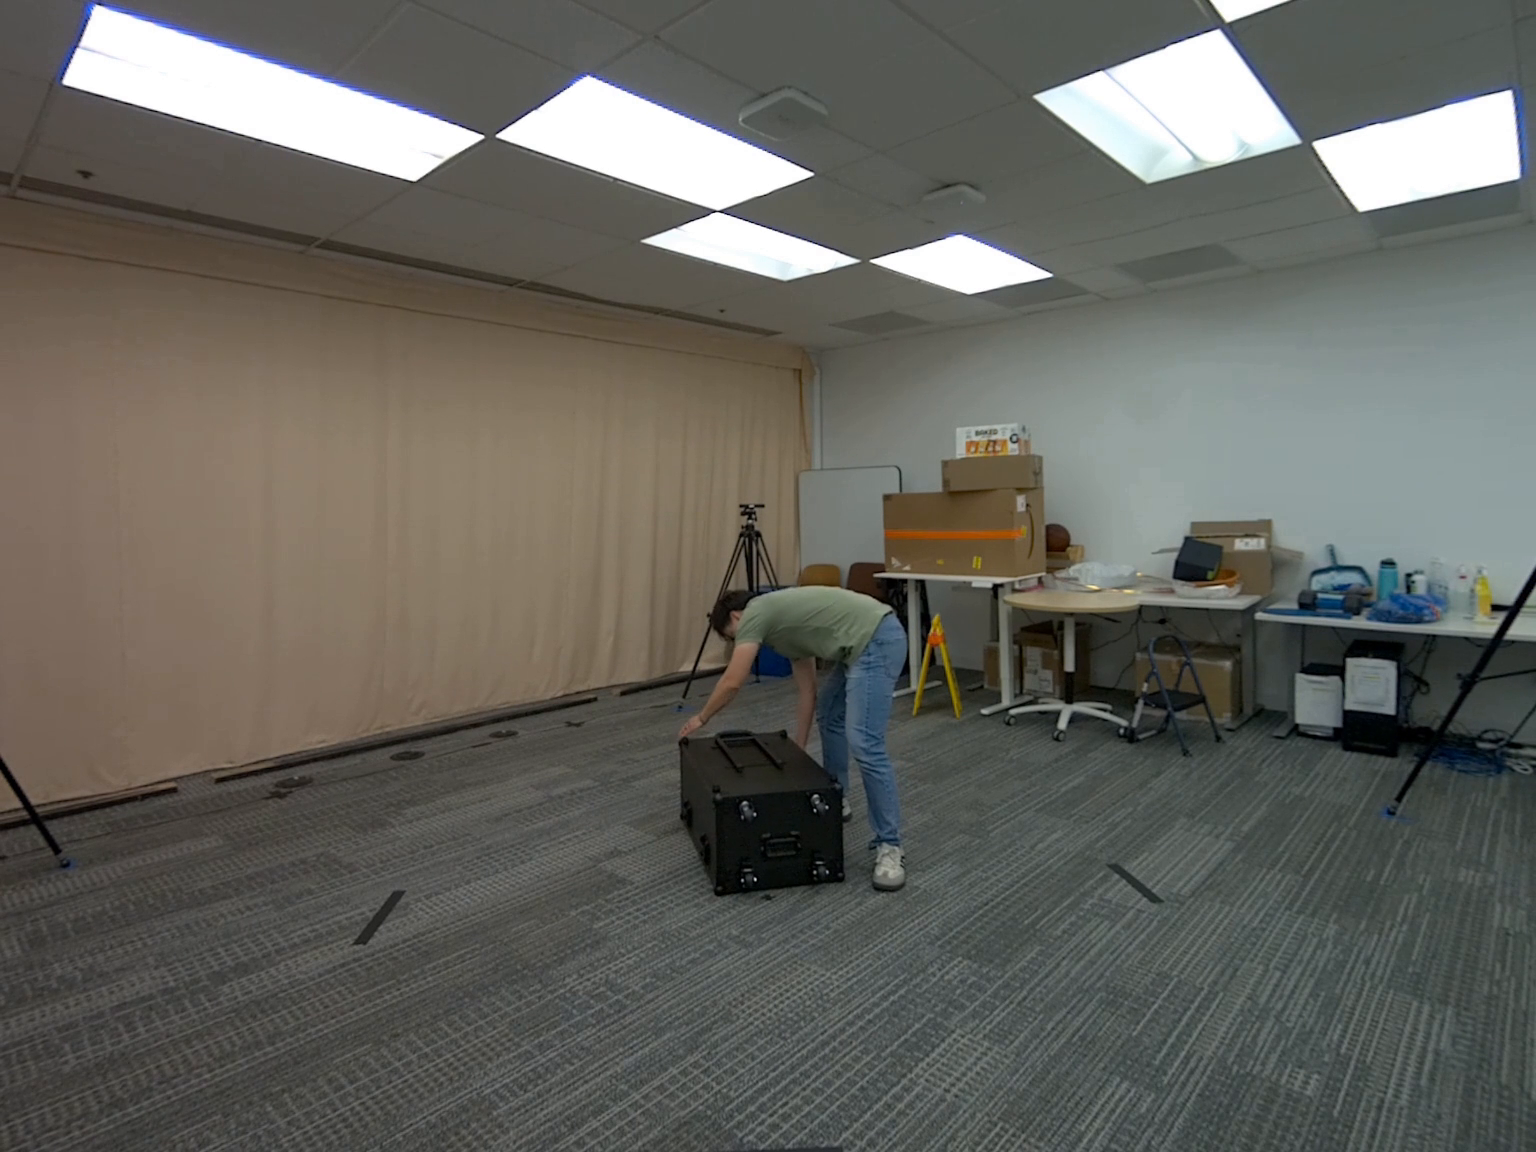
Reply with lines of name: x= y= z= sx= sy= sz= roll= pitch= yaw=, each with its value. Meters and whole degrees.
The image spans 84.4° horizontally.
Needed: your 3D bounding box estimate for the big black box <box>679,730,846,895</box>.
big black box: x=-0.044 y=0.910 z=3.380 sx=0.514 sy=0.395 sz=0.876 roll=-2 pitch=5 yaw=-14
